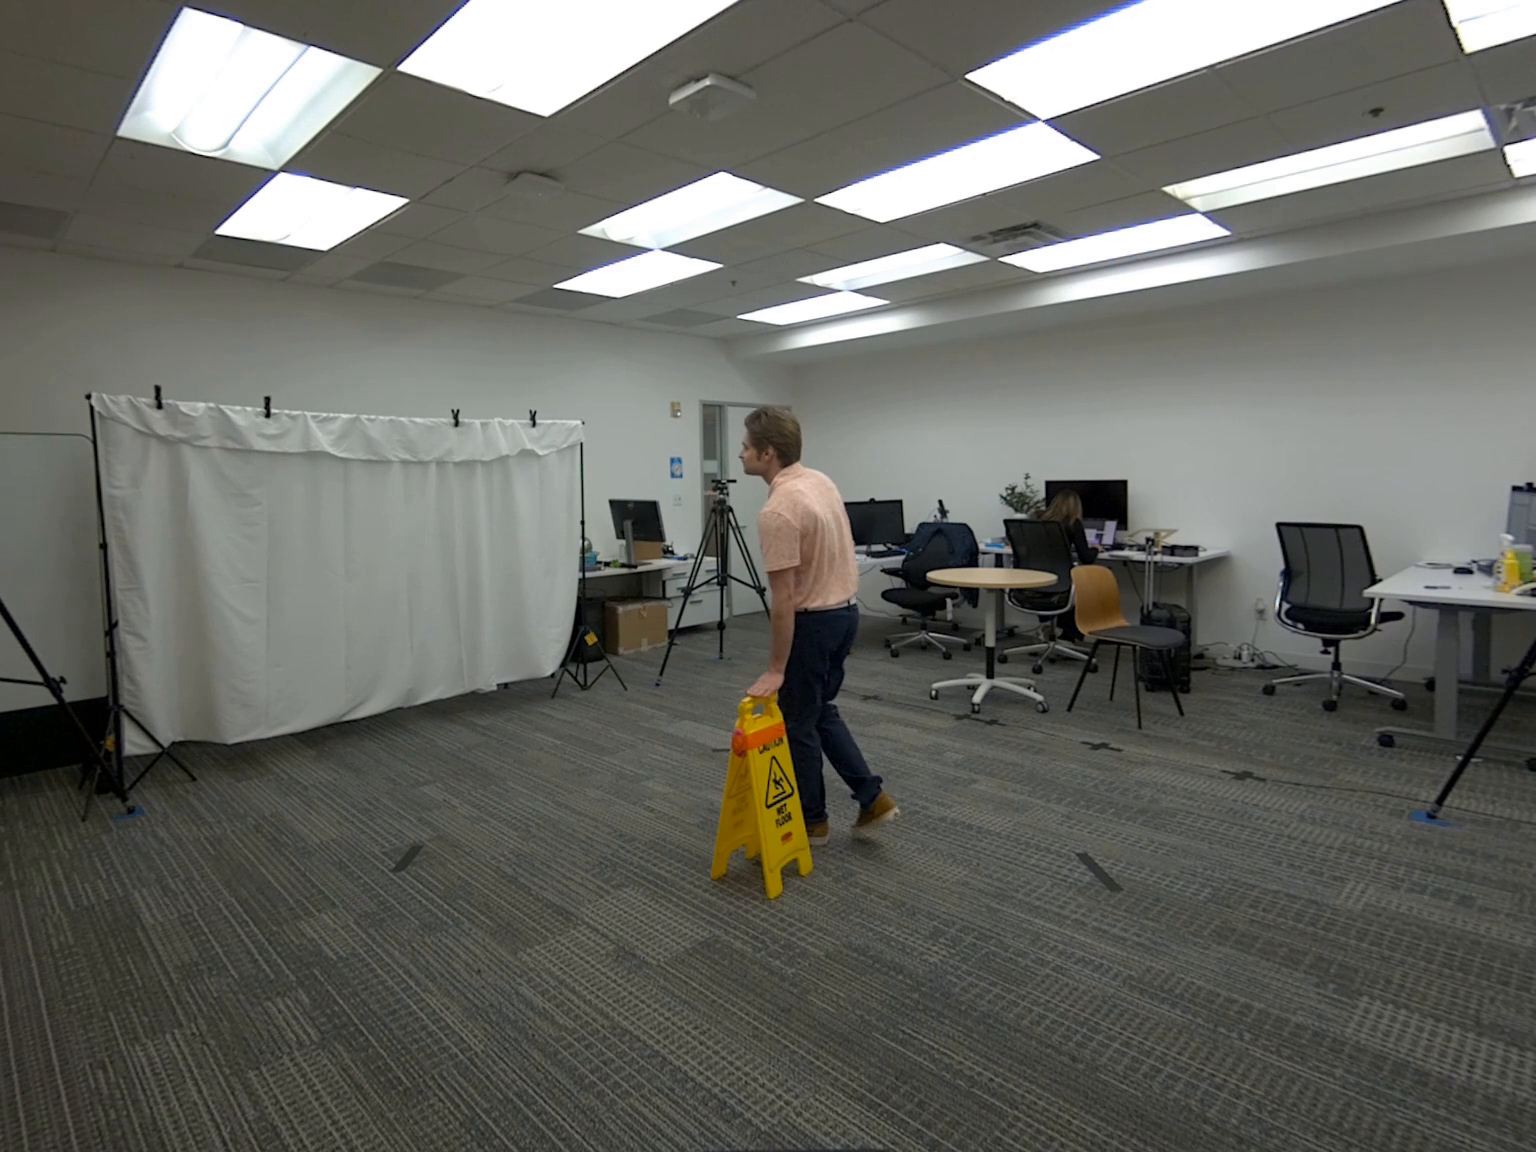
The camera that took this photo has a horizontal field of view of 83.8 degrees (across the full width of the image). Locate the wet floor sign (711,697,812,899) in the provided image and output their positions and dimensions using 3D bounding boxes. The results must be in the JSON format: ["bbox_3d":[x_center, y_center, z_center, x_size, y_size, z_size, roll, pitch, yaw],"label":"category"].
[{"bbox_3d":[-0.028,0.733,3.002,0.298,0.644,0.275,1,4,36],"label":"wet floor sign"}]
